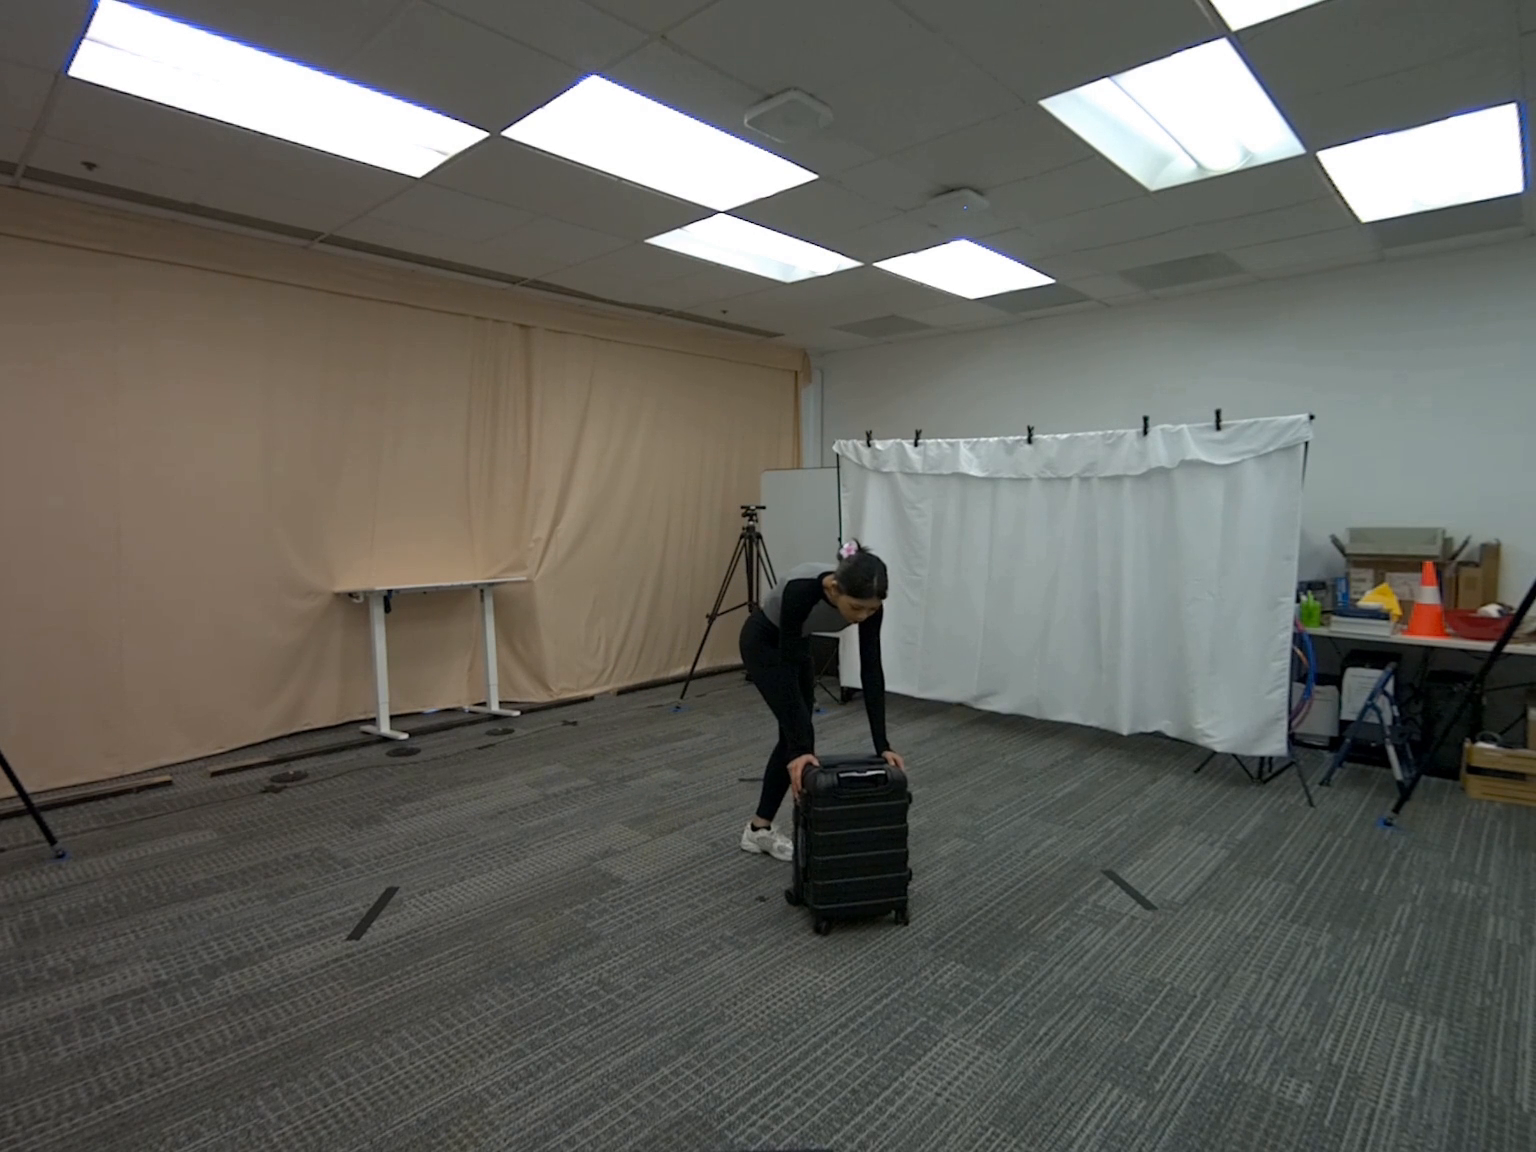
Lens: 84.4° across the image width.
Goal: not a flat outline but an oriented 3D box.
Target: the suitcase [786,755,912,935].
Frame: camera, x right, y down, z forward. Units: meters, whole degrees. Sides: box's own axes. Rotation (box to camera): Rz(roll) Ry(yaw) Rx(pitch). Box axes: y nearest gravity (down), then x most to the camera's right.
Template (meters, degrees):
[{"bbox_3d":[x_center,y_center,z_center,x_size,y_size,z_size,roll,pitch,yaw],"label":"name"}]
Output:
[{"bbox_3d":[0.280,0.878,2.843,0.370,0.547,0.253,-2,5,-15],"label":"suitcase"}]
